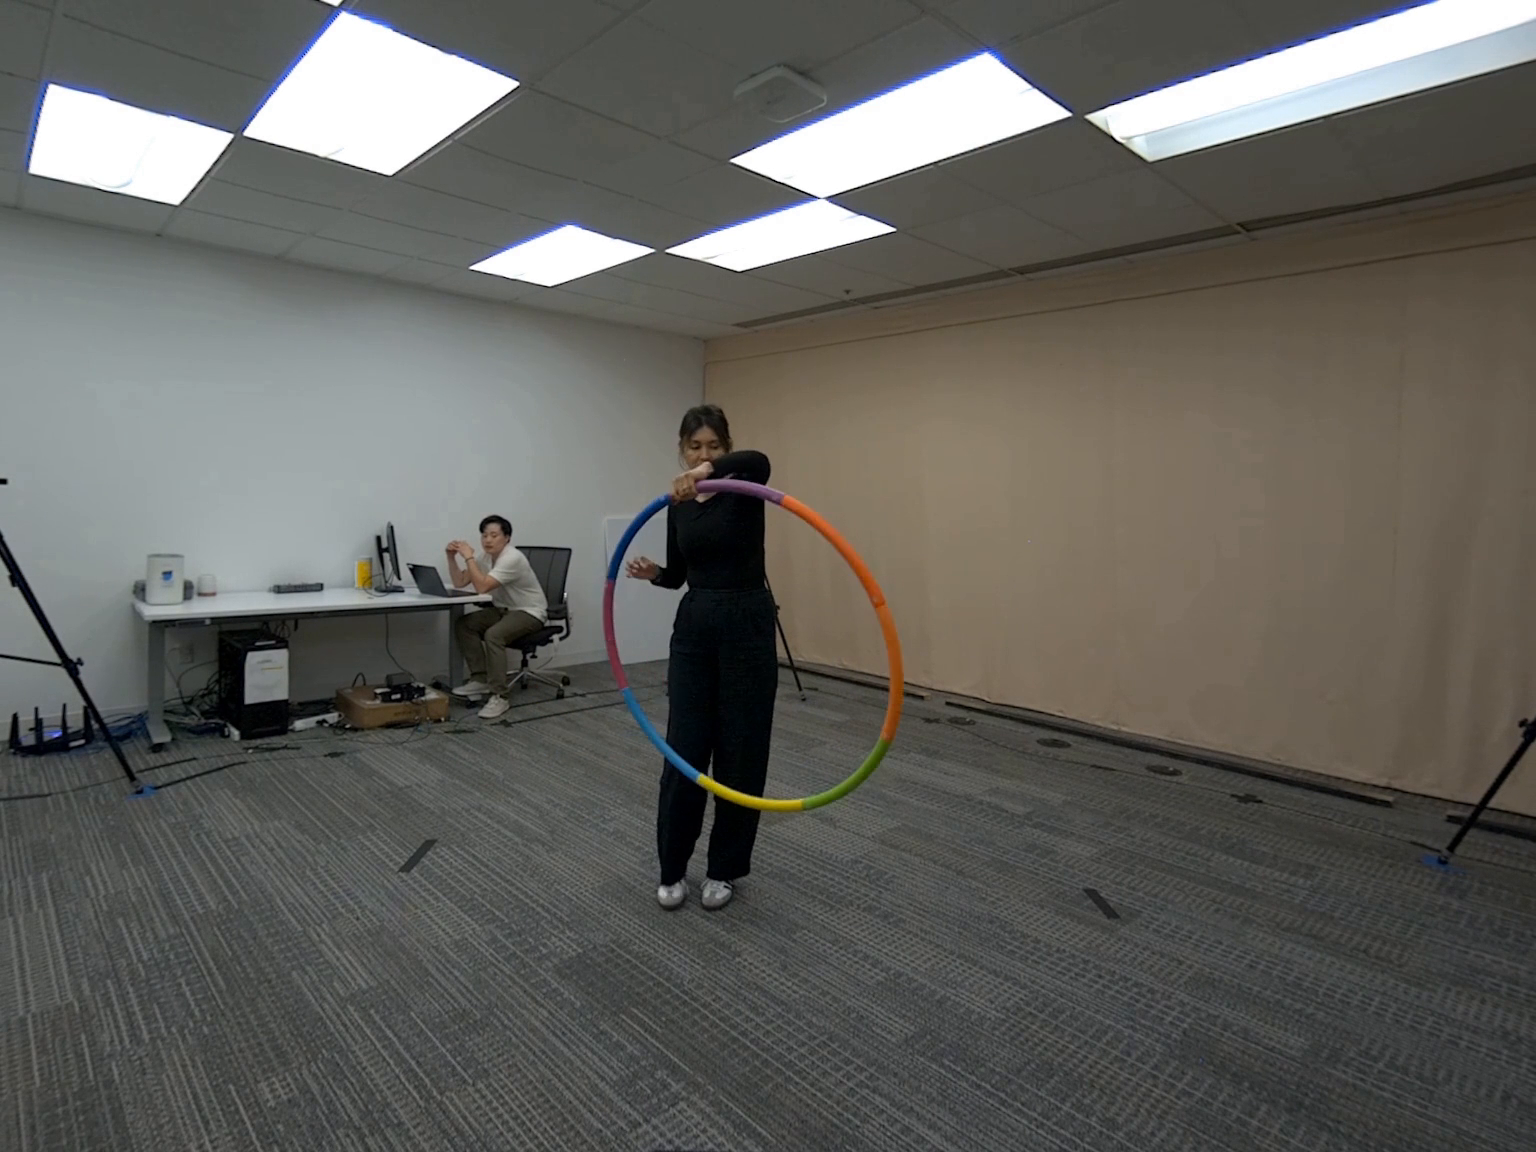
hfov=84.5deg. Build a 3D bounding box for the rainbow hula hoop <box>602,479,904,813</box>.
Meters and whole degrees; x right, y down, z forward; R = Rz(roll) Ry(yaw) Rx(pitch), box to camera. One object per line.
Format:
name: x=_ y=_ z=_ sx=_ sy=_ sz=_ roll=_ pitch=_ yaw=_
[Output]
rainbow hula hoop: x=-0.101 y=0.221 z=2.392 sx=1.008 sy=0.975 sz=0.051 roll=4 pitch=15 yaw=32
